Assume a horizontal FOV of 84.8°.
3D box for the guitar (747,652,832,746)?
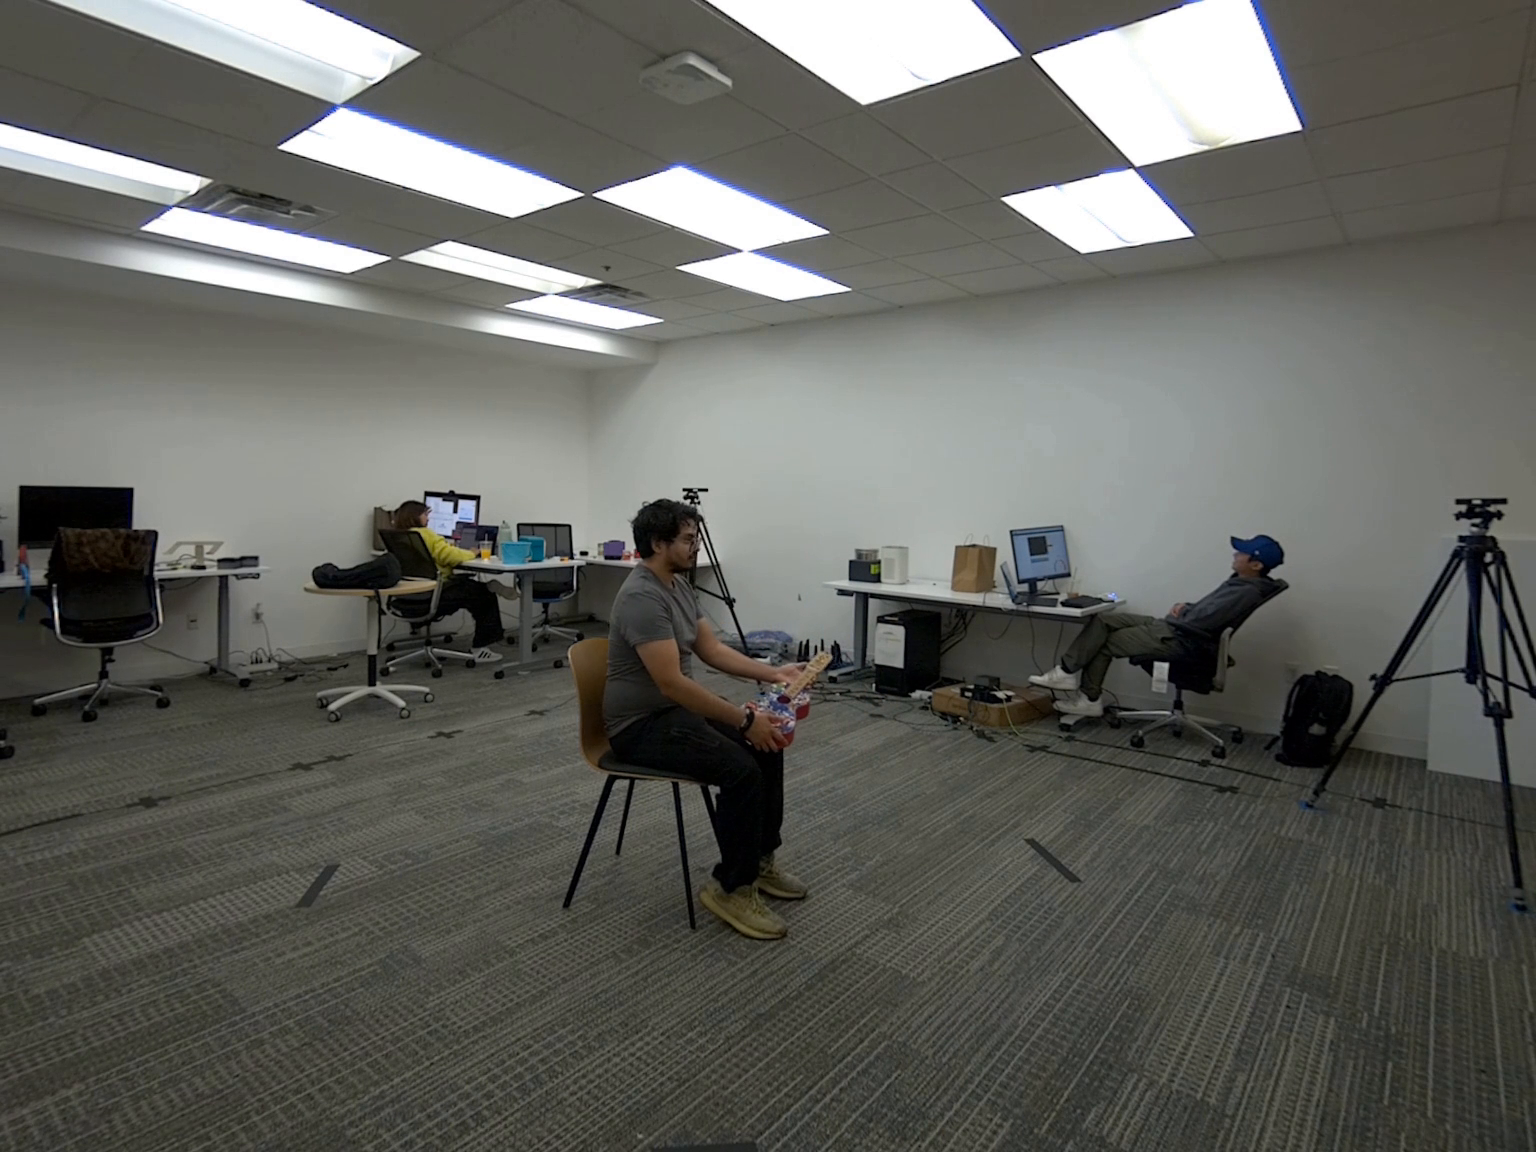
[{"bbox_3d":[0.107,0.418,2.866,0.200,0.069,0.490,26,37,31],"label":"guitar"}]
